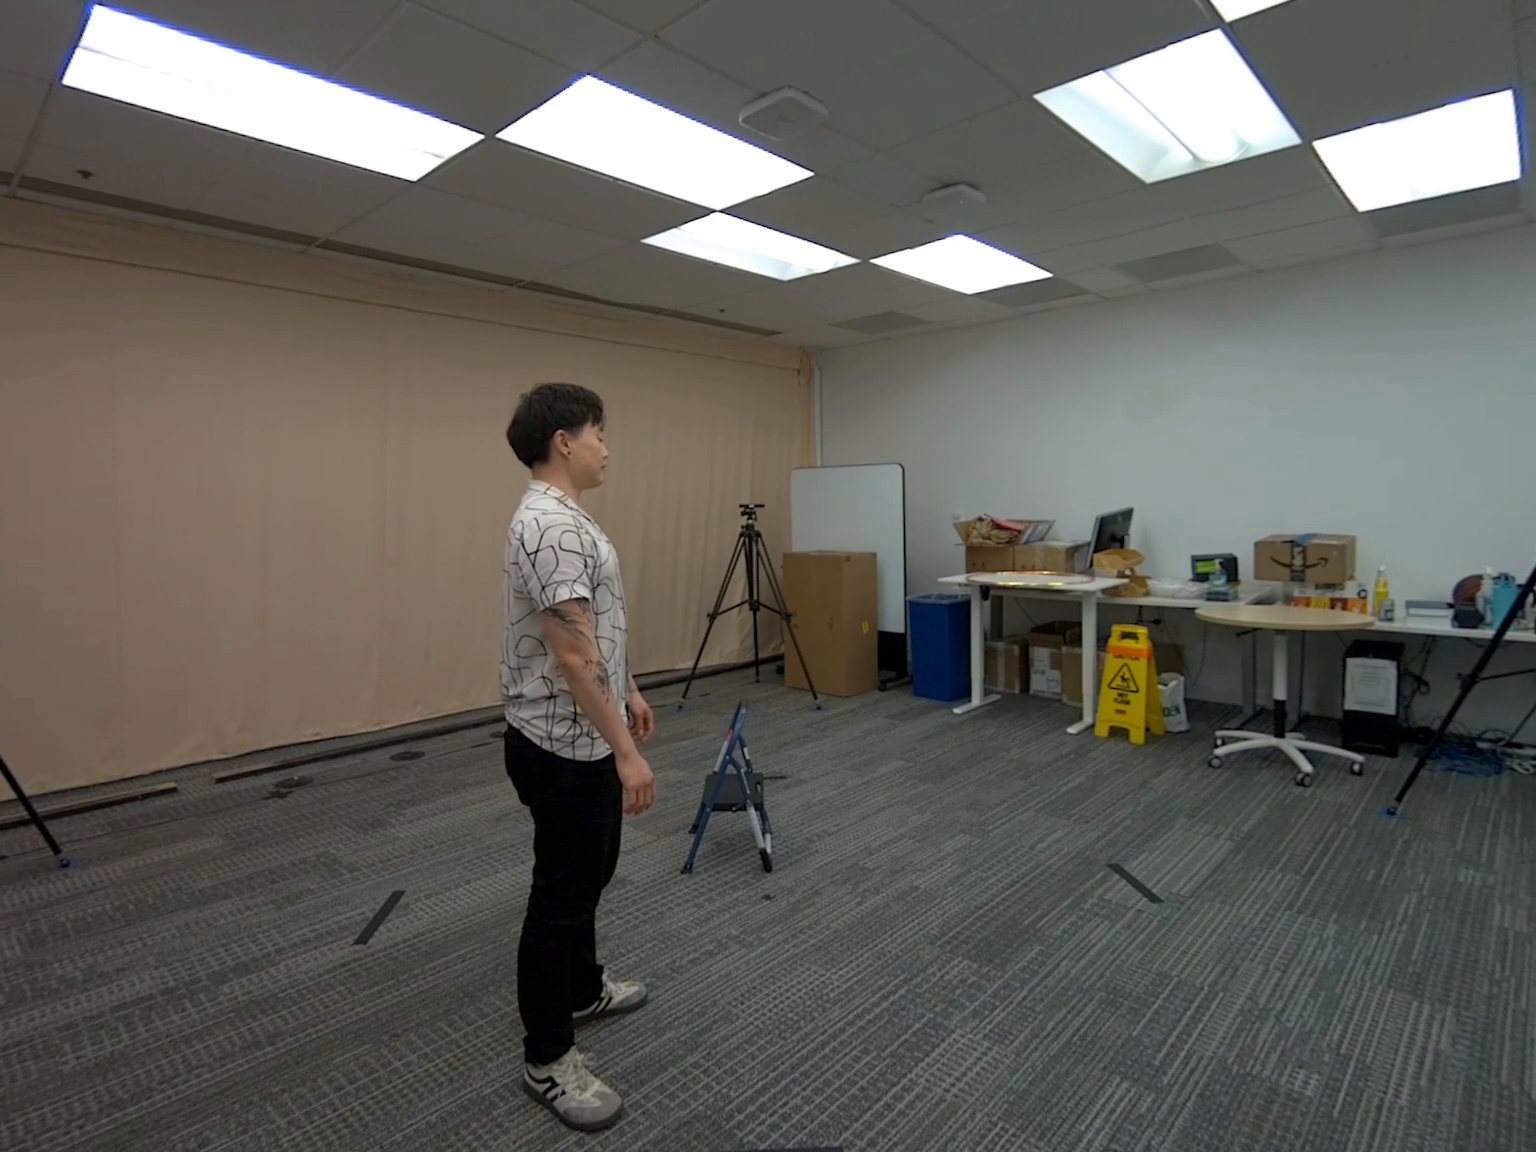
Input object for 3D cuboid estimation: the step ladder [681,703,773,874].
[{"bbox_3d":[-0.162,0.806,3.379,0.350,0.605,0.431,-1,3,0],"label":"step ladder"}]
